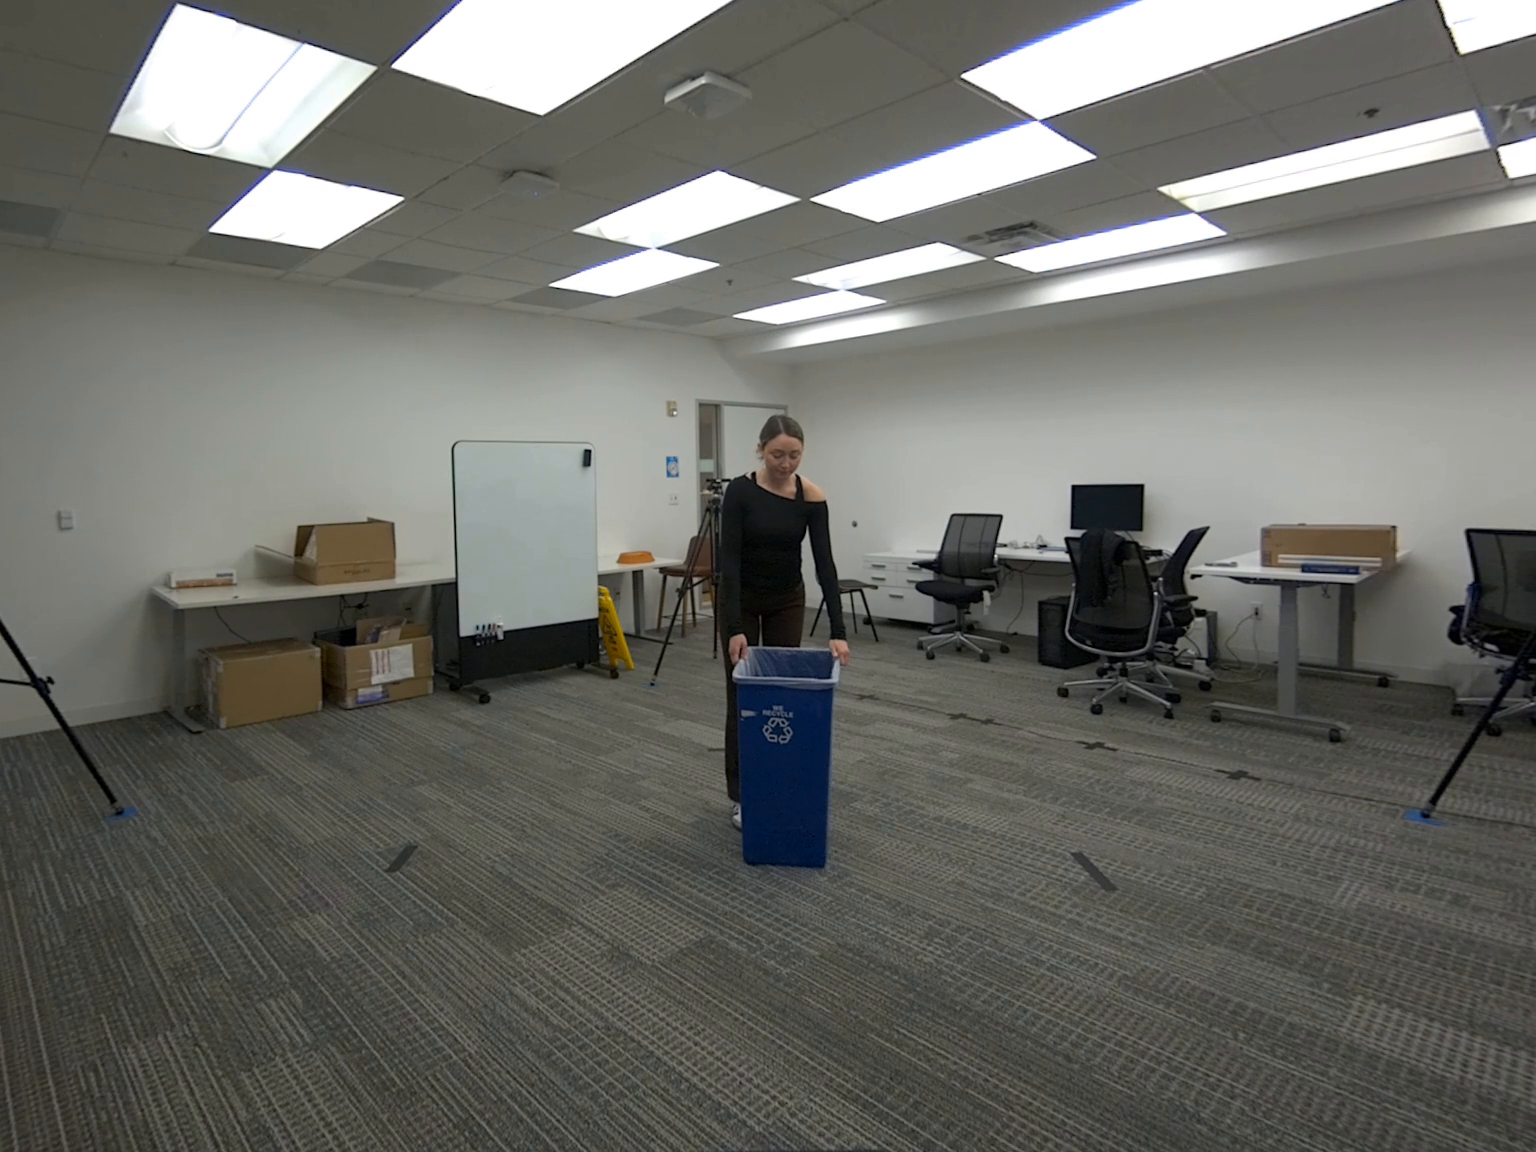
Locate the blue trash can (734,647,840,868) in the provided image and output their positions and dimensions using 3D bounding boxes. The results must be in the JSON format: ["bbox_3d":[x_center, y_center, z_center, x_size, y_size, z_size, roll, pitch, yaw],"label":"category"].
[{"bbox_3d":[0.080,0.665,3.168,0.377,0.707,0.379,0,10,7],"label":"blue trash can"}]
